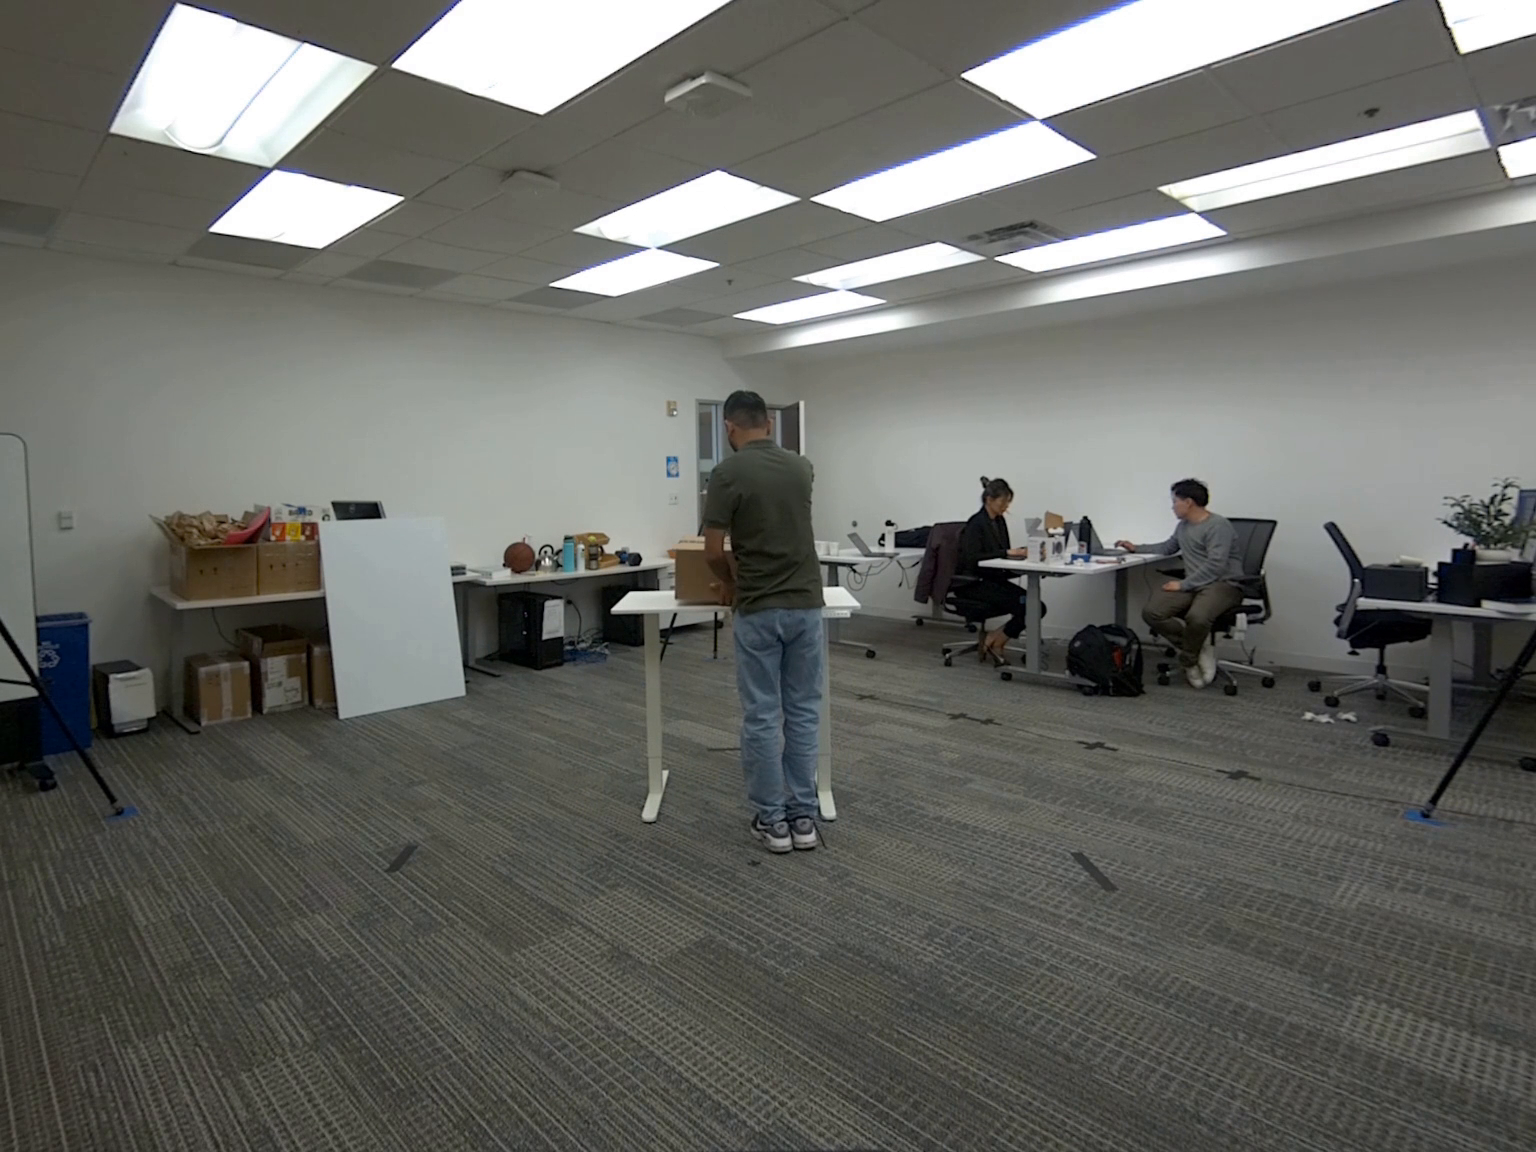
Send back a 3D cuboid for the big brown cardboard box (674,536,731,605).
[{"bbox_3d":[-0.096,-0.035,3.664,0.591,0.231,0.419,2,9,2],"label":"big brown cardboard box"}]
